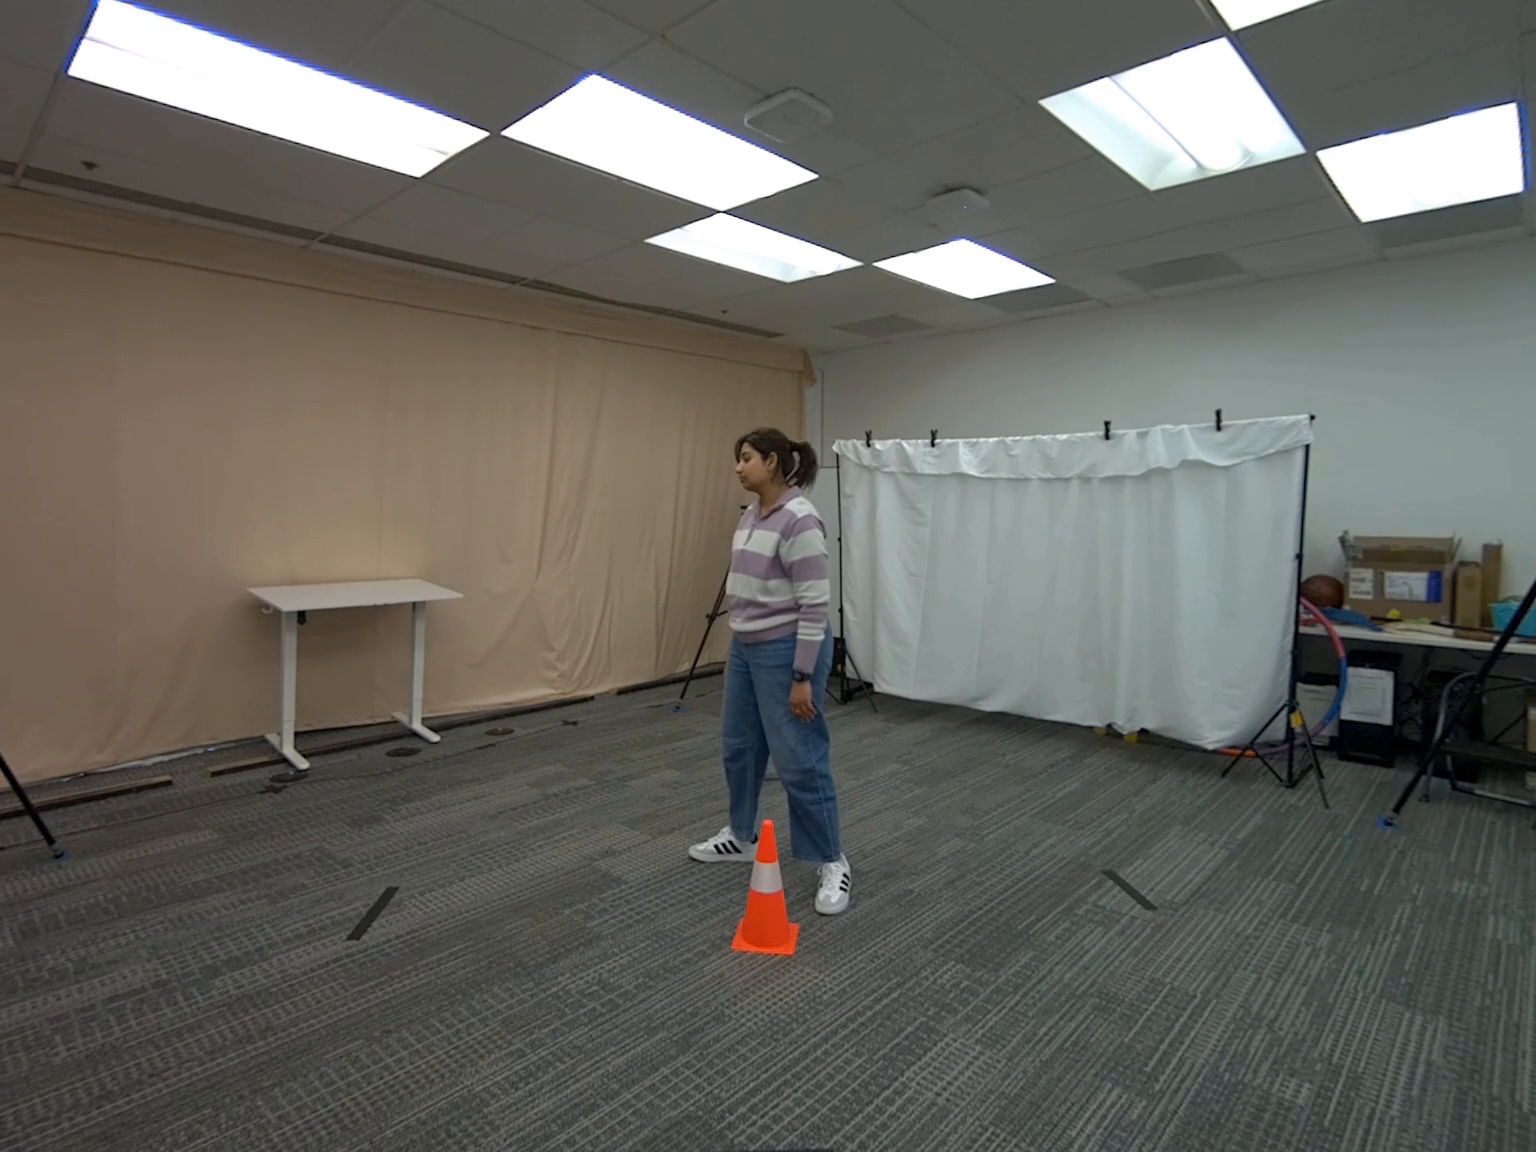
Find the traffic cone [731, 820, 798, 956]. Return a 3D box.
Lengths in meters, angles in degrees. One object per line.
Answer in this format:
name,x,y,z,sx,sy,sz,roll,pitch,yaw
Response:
traffic cone,0.007,0.987,2.699,0.208,0.382,0.201,2,5,11
